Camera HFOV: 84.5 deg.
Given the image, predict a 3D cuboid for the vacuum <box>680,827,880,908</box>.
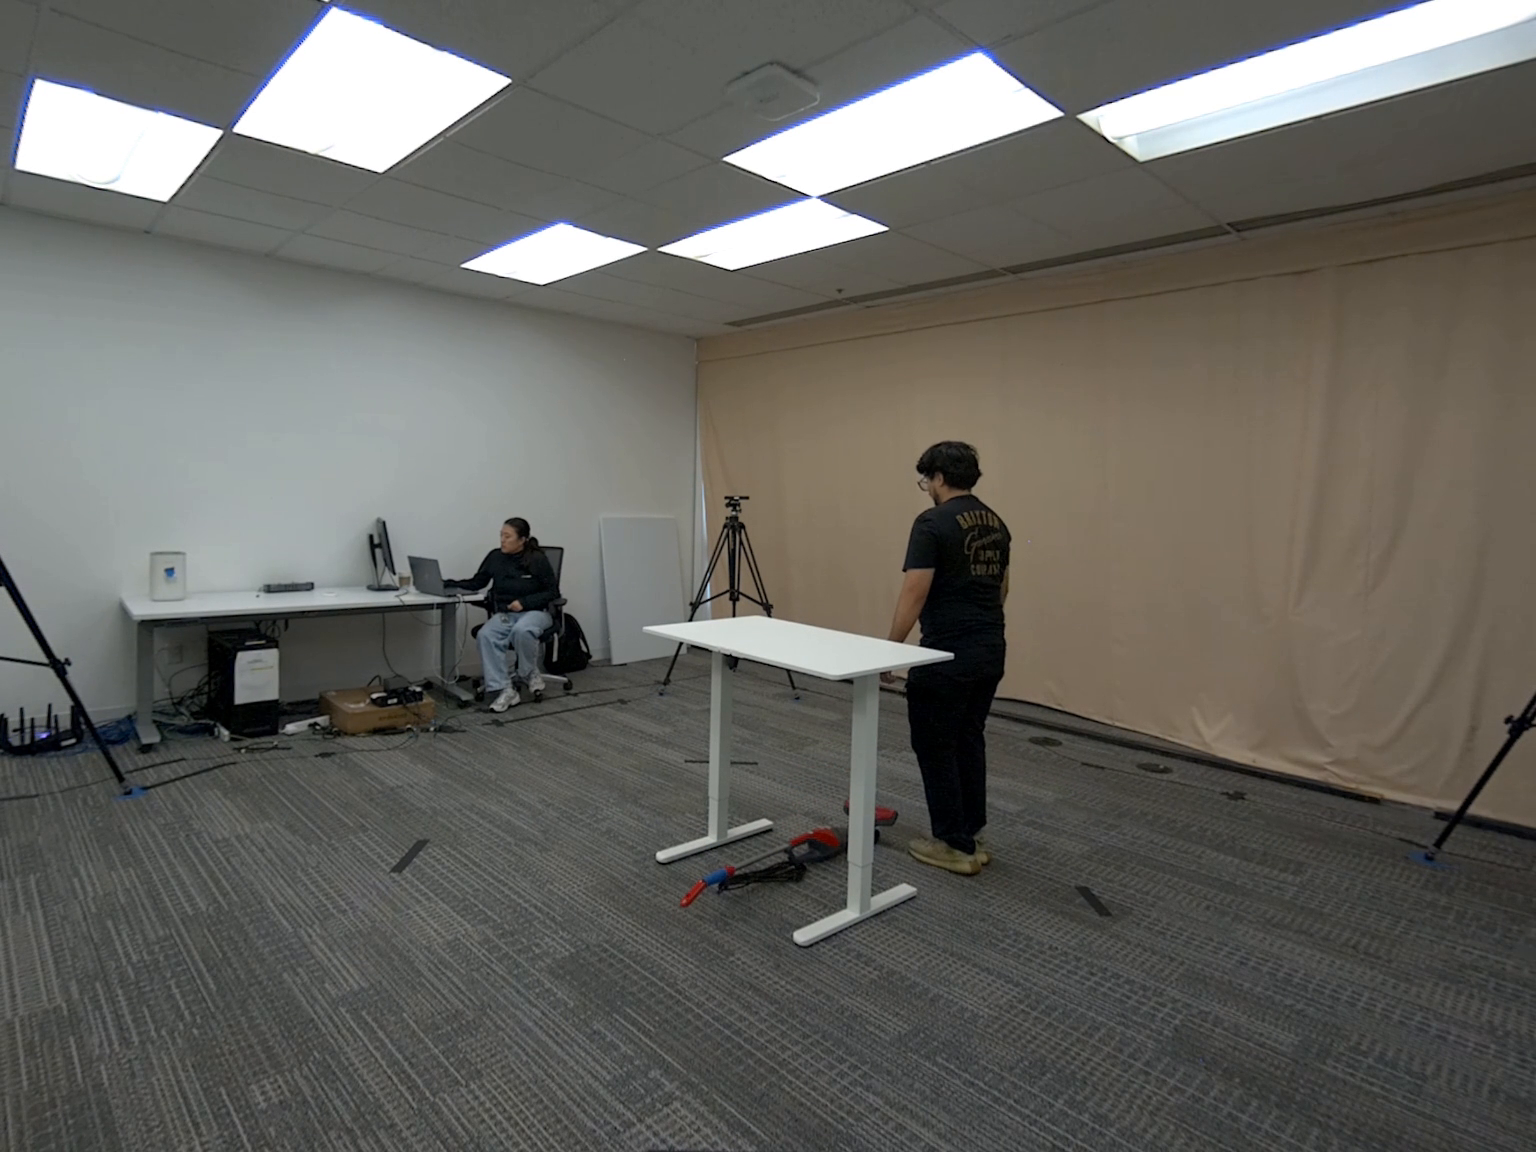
[{"bbox_3d":[0.069,1.049,3.117,0.259,0.144,1.026,1,5,42],"label":"vacuum"}]
